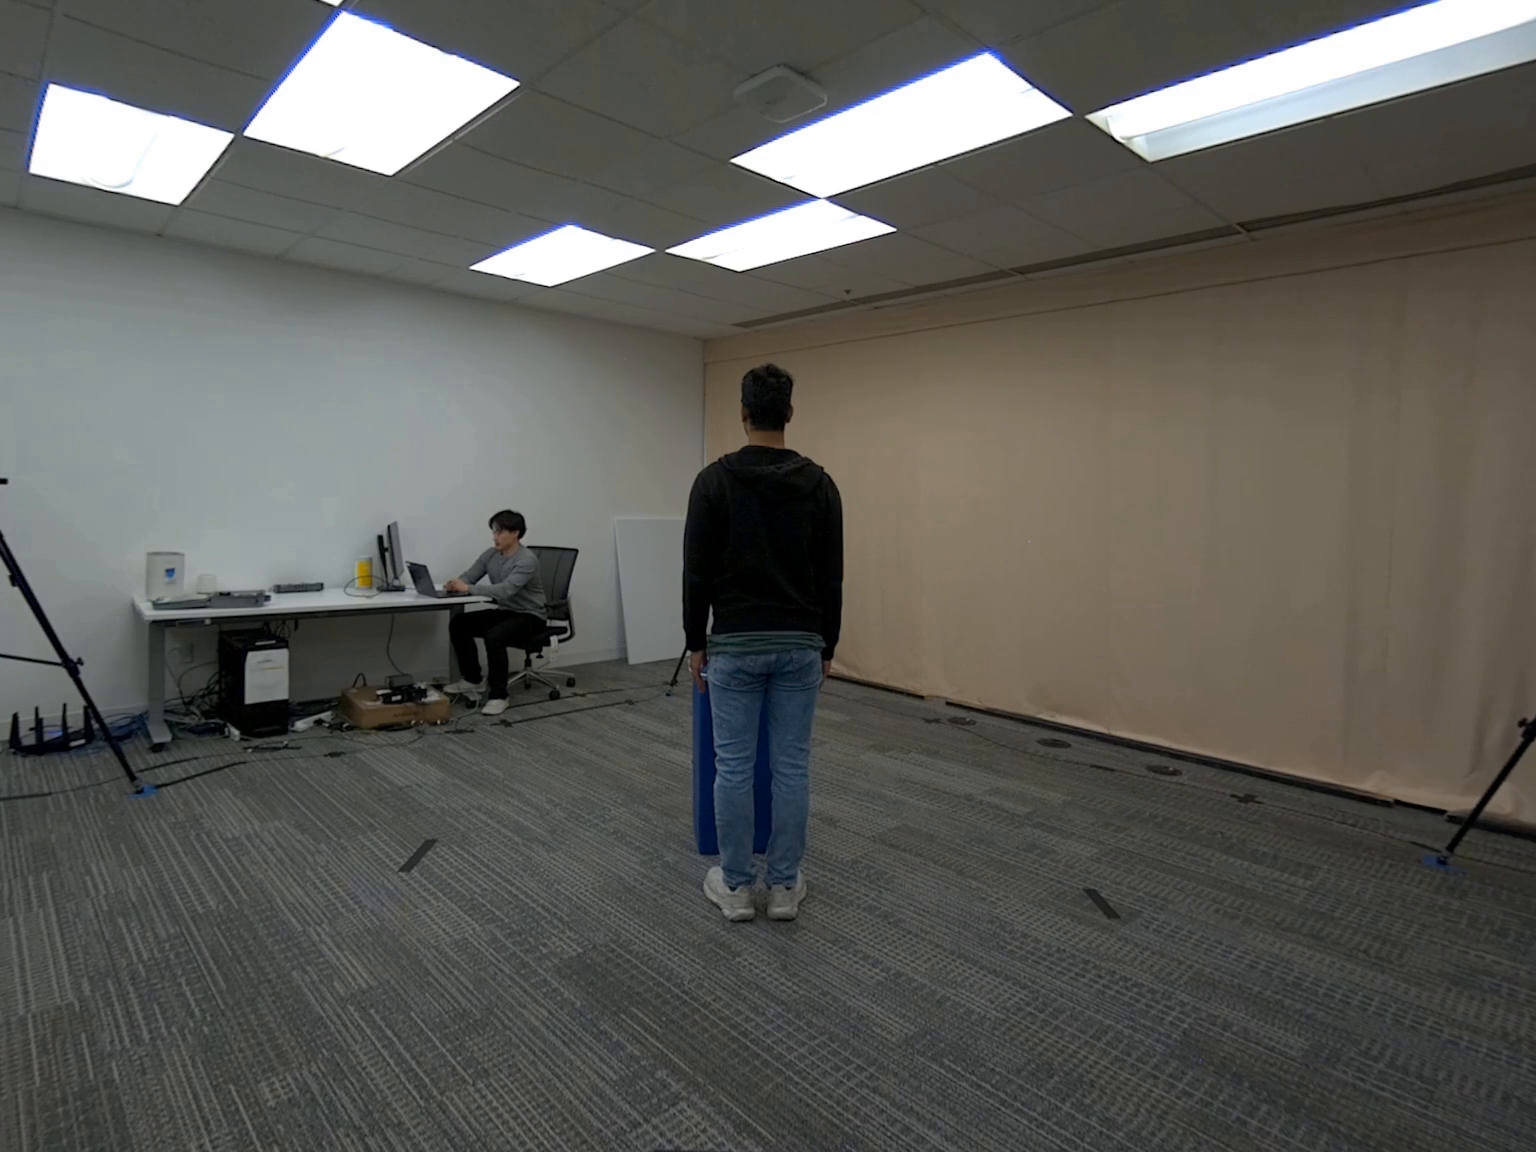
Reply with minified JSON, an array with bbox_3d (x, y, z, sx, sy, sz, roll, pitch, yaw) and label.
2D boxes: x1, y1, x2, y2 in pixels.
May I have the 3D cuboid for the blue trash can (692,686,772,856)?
[{"bbox_3d":[-0.140,0.723,3.436,0.375,0.712,0.377,2,3,-9],"label":"blue trash can"}]
